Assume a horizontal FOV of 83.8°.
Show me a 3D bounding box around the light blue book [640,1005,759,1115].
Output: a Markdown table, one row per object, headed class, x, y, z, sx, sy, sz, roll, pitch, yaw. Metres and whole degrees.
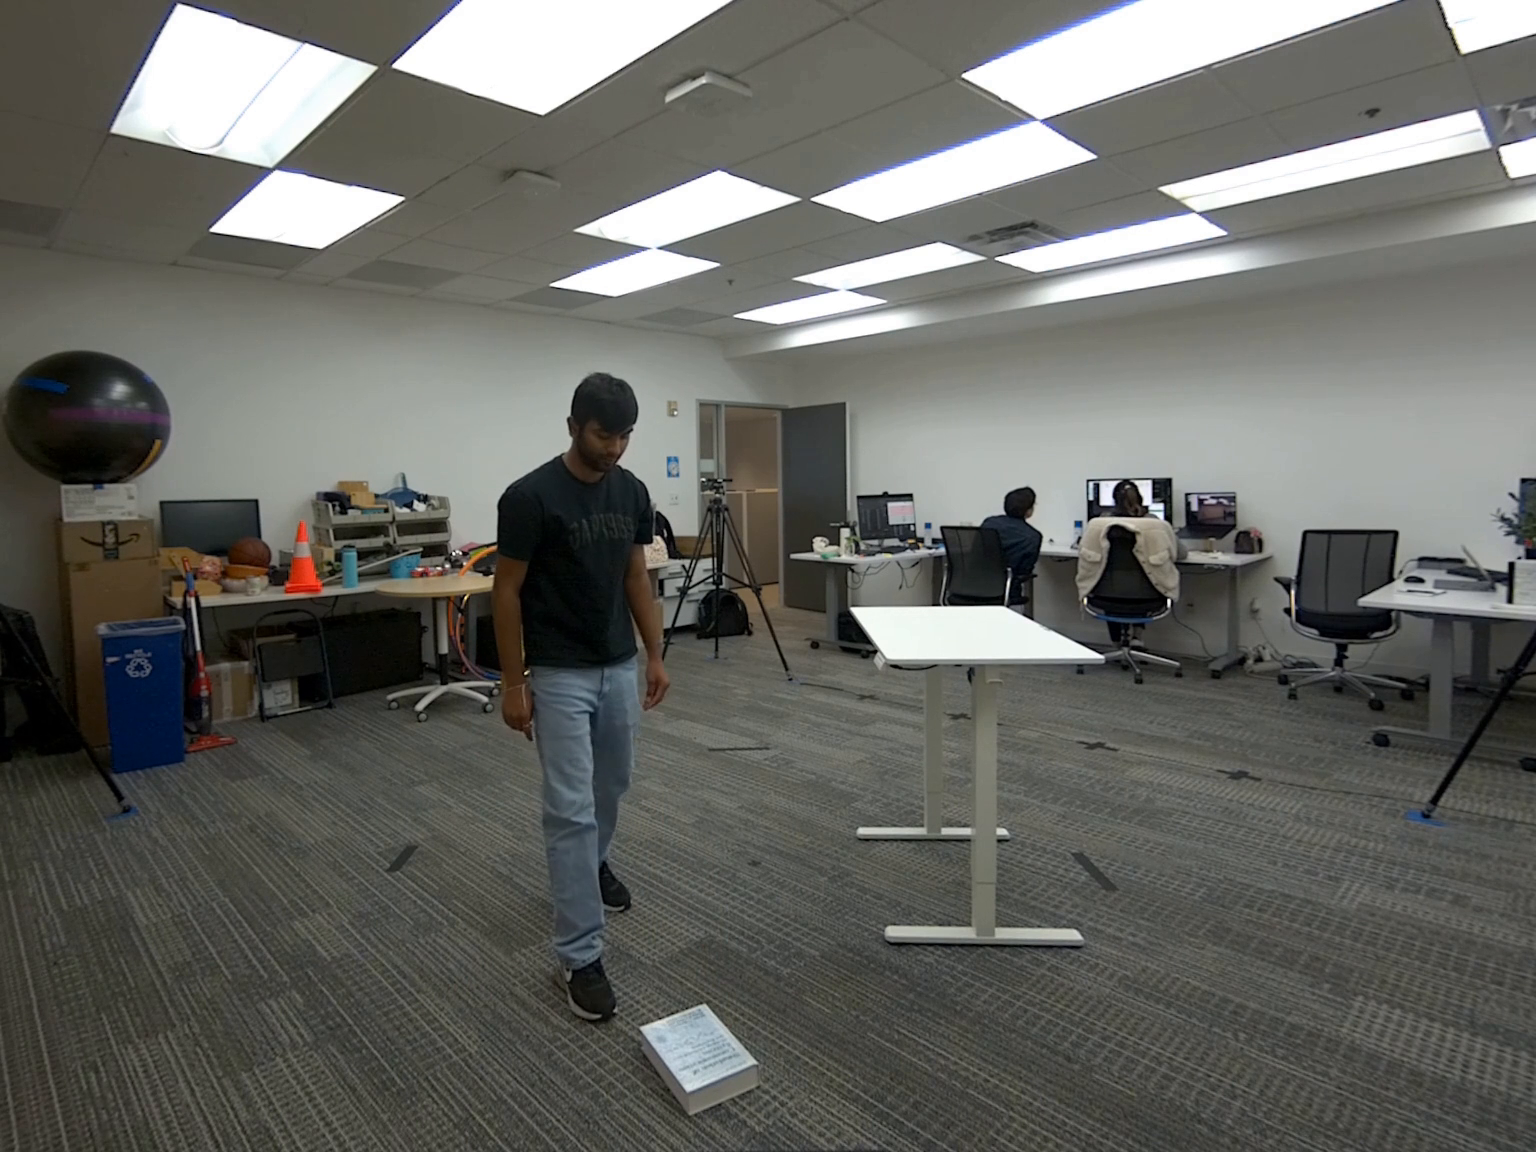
| class | x | y | z | sx | sy | sz | roll | pitch | yaw |
| --- | --- | --- | --- | --- | --- | --- | --- | --- | --- |
| light blue book | -0.159 | 1.143 | 2.033 | 0.187 | 0.059 | 0.268 | -6 | 8 | -31 |
